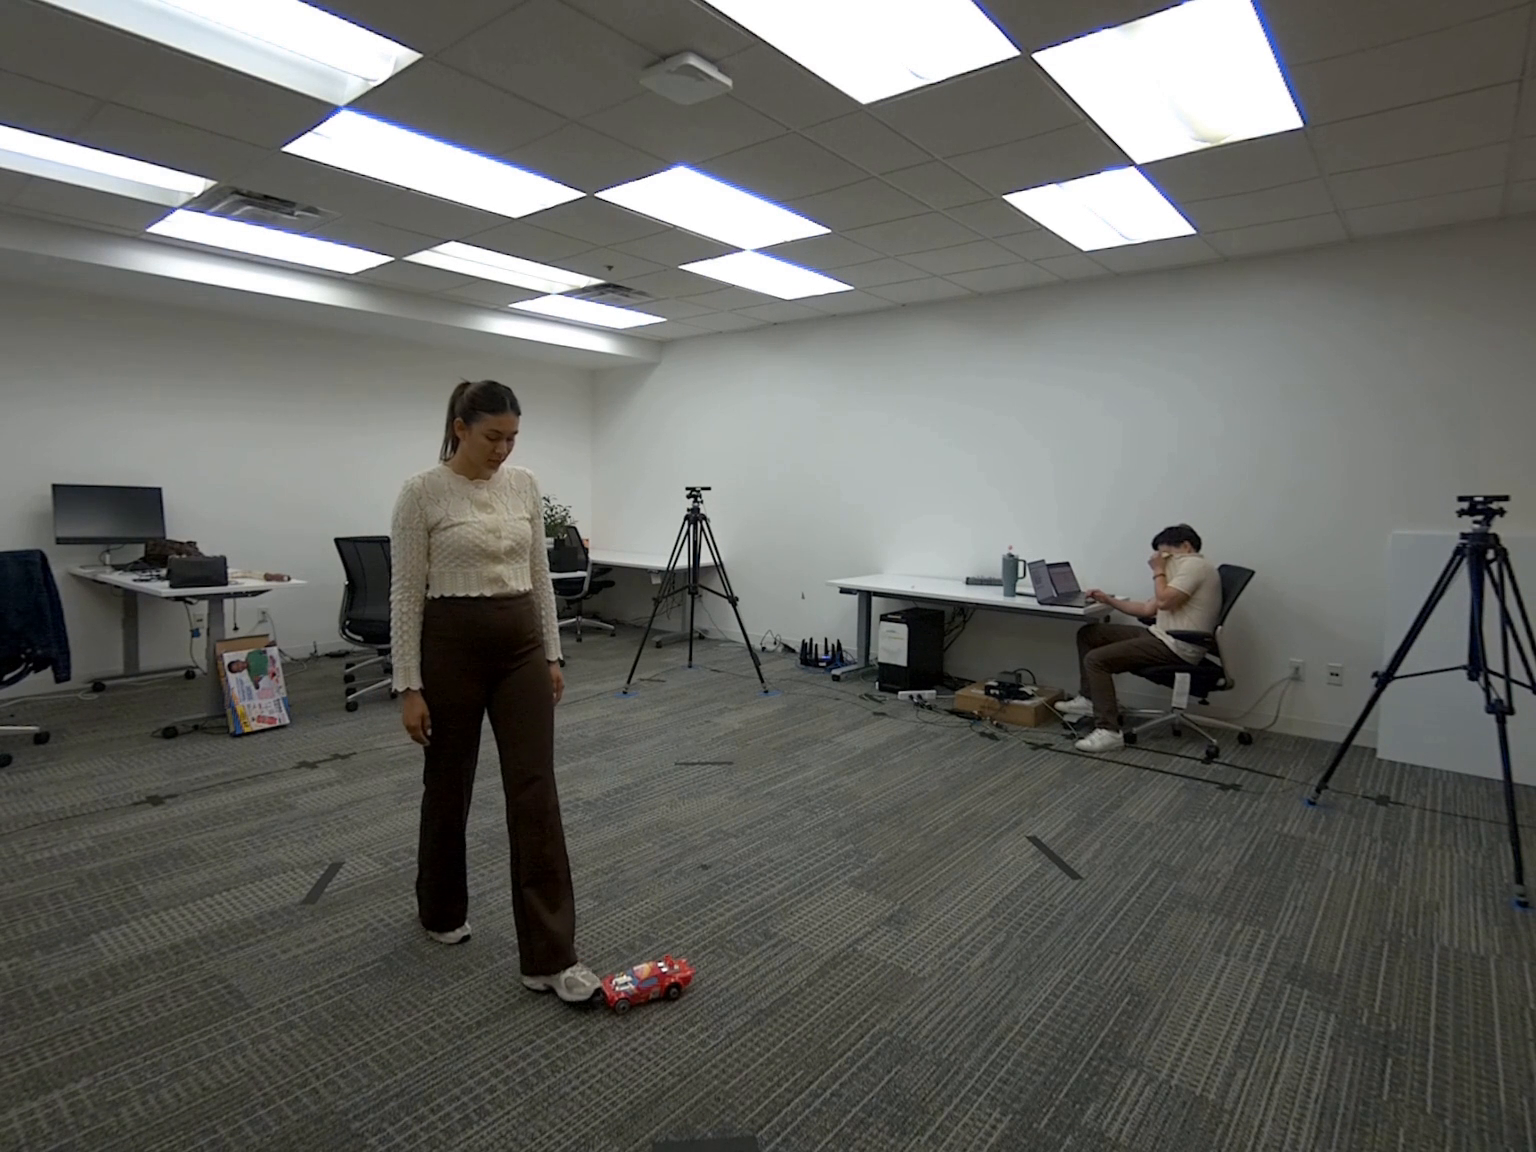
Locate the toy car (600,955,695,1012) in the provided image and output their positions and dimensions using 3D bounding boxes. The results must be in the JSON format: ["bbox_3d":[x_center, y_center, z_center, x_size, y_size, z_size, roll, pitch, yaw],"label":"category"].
[{"bbox_3d":[-0.337,1.116,2.316,0.250,0.082,0.134,-14,11,-24],"label":"toy car"}]
